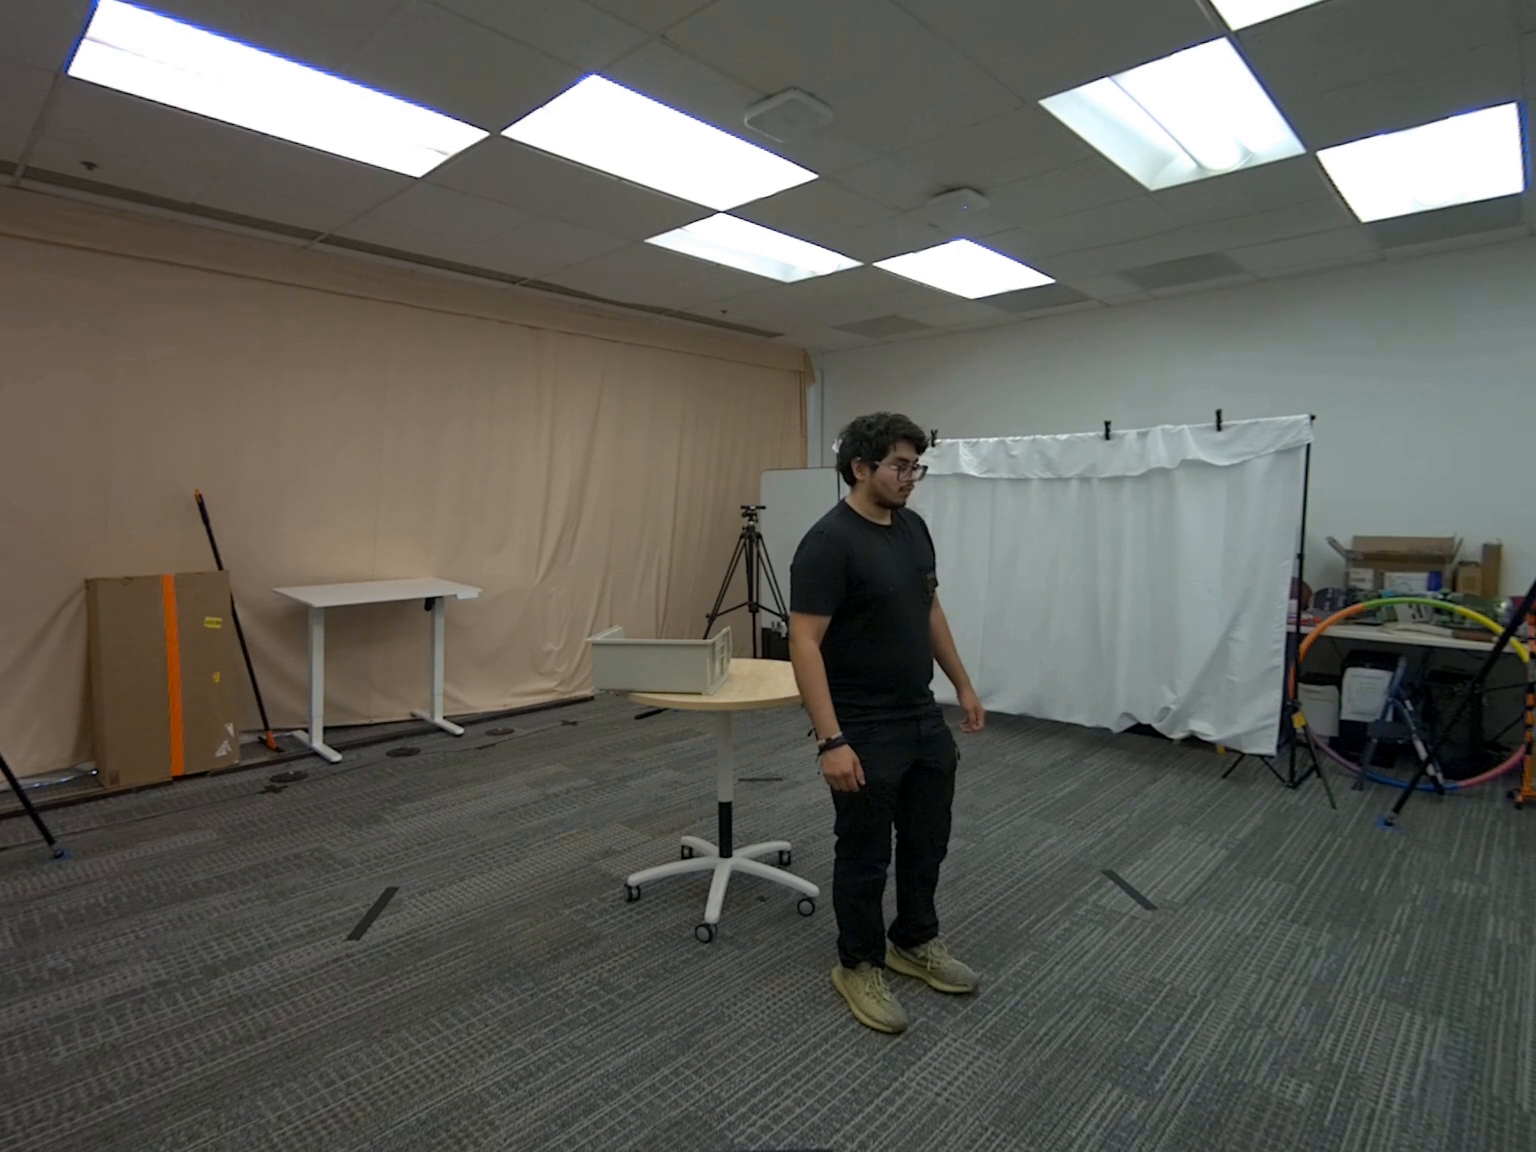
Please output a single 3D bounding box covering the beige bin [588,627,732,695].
[{"bbox_3d":[-0.363,0.286,2.906,0.427,0.188,0.374,0,5,10],"label":"beige bin"}]
